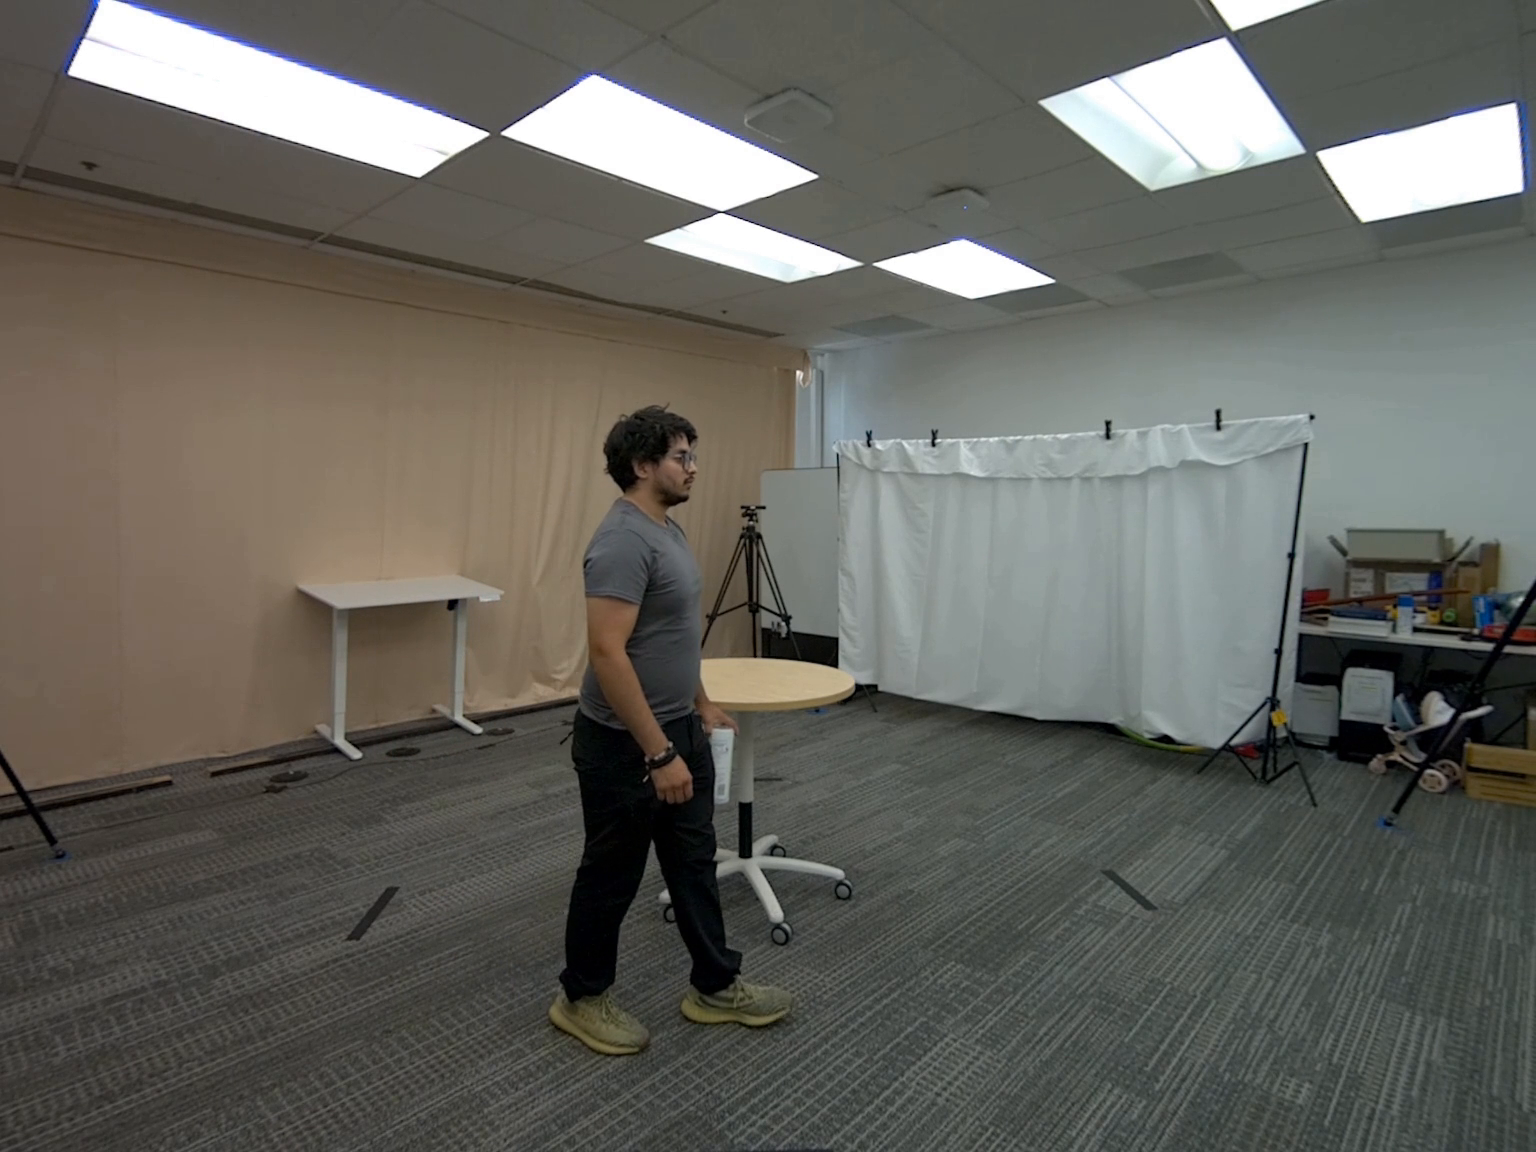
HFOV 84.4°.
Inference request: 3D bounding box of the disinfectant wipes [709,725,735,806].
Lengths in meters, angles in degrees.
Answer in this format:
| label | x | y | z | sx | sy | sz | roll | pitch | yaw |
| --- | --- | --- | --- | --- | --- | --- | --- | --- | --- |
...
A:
| label | x | y | z | sx | sy | sz | roll | pitch | yaw |
| --- | --- | --- | --- | --- | --- | --- | --- | --- | --- |
| disinfectant wipes | -0.154 | 0.545 | 2.467 | 0.118 | 0.218 | 0.117 | 3 | -4 | -2 |
